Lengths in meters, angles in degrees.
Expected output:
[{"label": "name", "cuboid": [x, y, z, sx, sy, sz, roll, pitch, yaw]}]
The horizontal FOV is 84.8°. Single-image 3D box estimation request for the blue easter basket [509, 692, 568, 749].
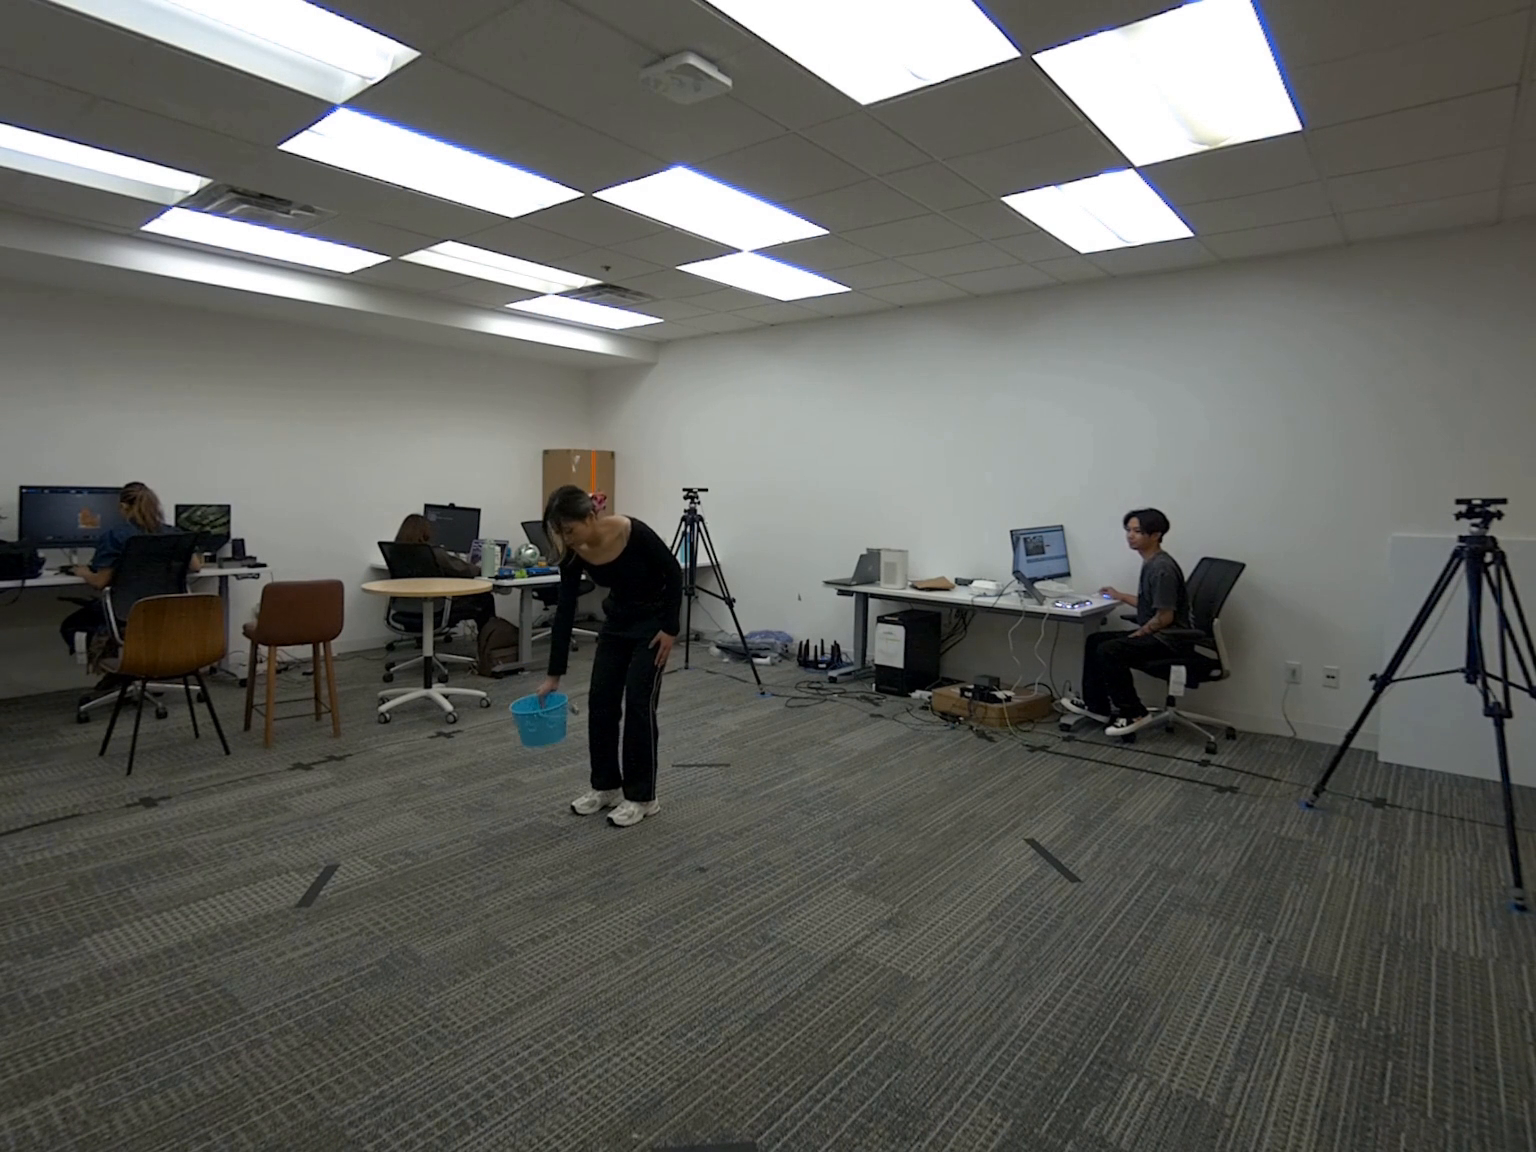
[{"label": "blue easter basket", "cuboid": [-0.942, 0.586, 3.434, 0.243, 0.154, 0.246, -4, 10, -1]}]
